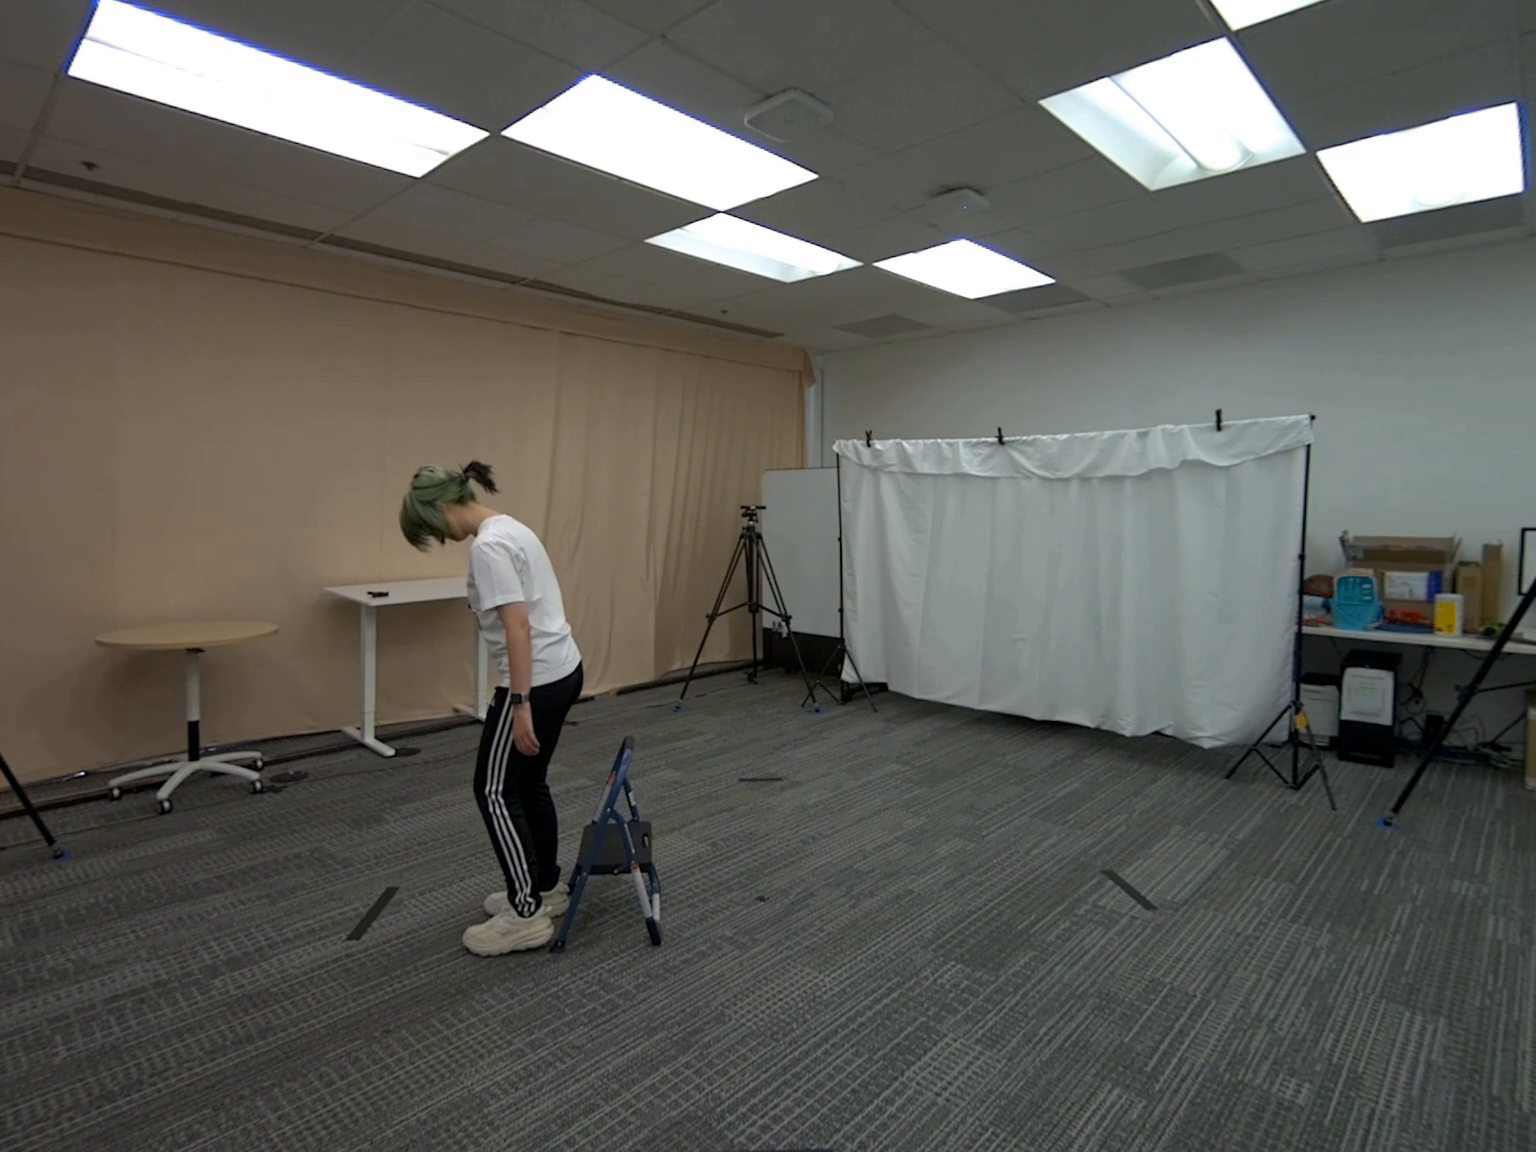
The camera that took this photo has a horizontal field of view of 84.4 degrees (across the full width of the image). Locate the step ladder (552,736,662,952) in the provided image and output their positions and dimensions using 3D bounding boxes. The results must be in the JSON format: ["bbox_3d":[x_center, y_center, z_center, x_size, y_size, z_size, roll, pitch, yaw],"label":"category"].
[{"bbox_3d":[-0.535,0.862,2.843,0.347,0.604,0.435,-1,4,-7],"label":"step ladder"}]
